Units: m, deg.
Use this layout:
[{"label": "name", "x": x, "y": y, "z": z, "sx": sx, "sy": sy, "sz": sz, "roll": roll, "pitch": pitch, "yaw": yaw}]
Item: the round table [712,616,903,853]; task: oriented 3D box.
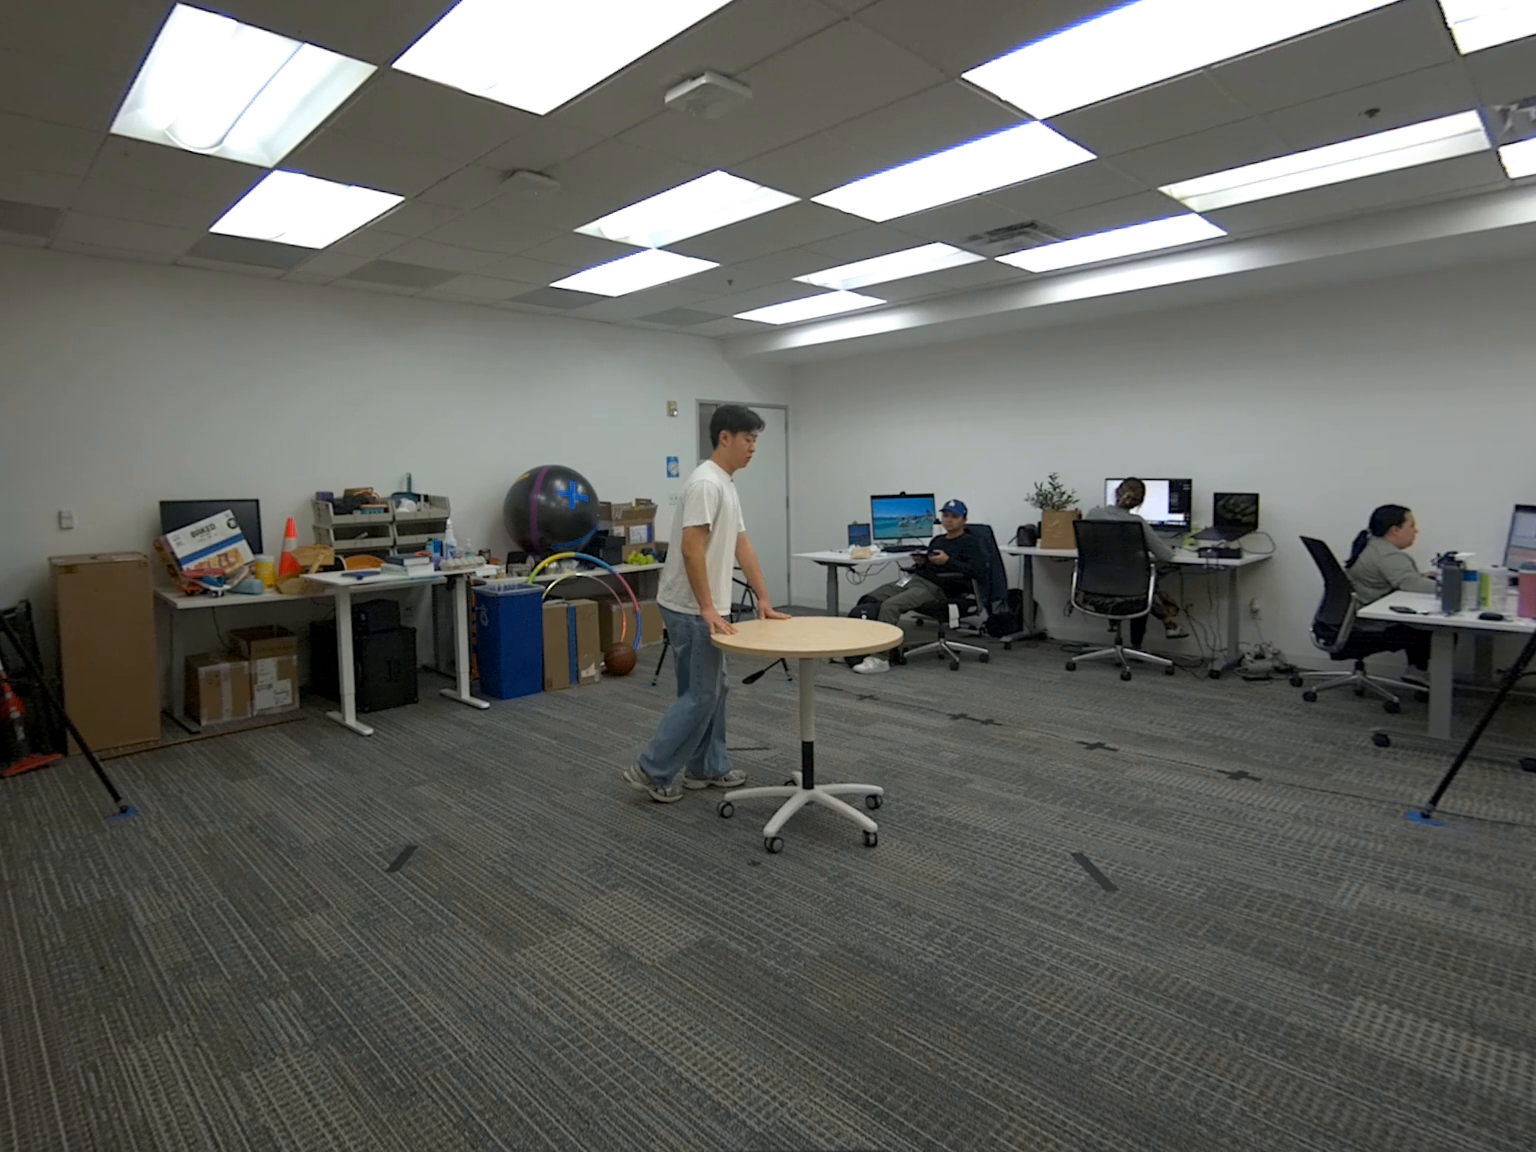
[{"label": "round table", "x": 0.155, "y": 0.616, "z": 3.449, "sx": 0.763, "sy": 0.791, "sz": 0.768, "roll": -1, "pitch": 5, "yaw": -2}]
